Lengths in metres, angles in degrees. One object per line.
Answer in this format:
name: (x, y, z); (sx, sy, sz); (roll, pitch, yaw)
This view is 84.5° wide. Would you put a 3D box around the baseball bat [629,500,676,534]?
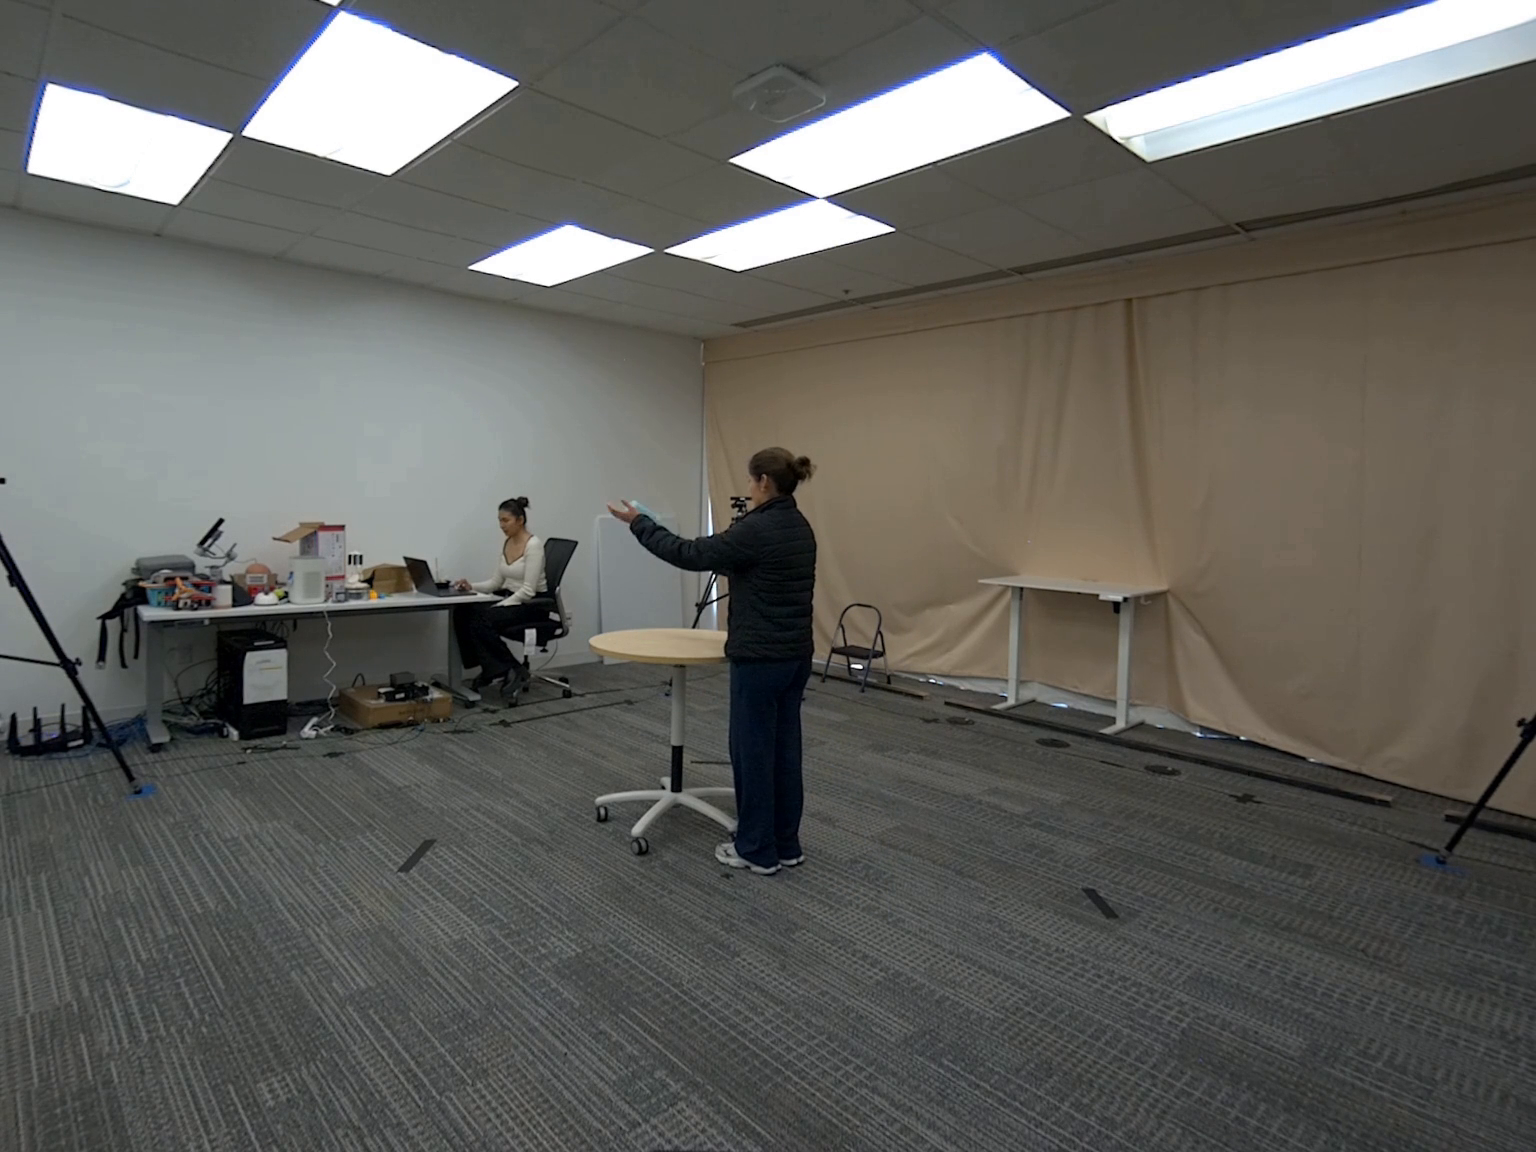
baseball bat: (-0.386, -0.136, 3.570); (0.527, 0.089, 0.091); (36, -17, -32)
